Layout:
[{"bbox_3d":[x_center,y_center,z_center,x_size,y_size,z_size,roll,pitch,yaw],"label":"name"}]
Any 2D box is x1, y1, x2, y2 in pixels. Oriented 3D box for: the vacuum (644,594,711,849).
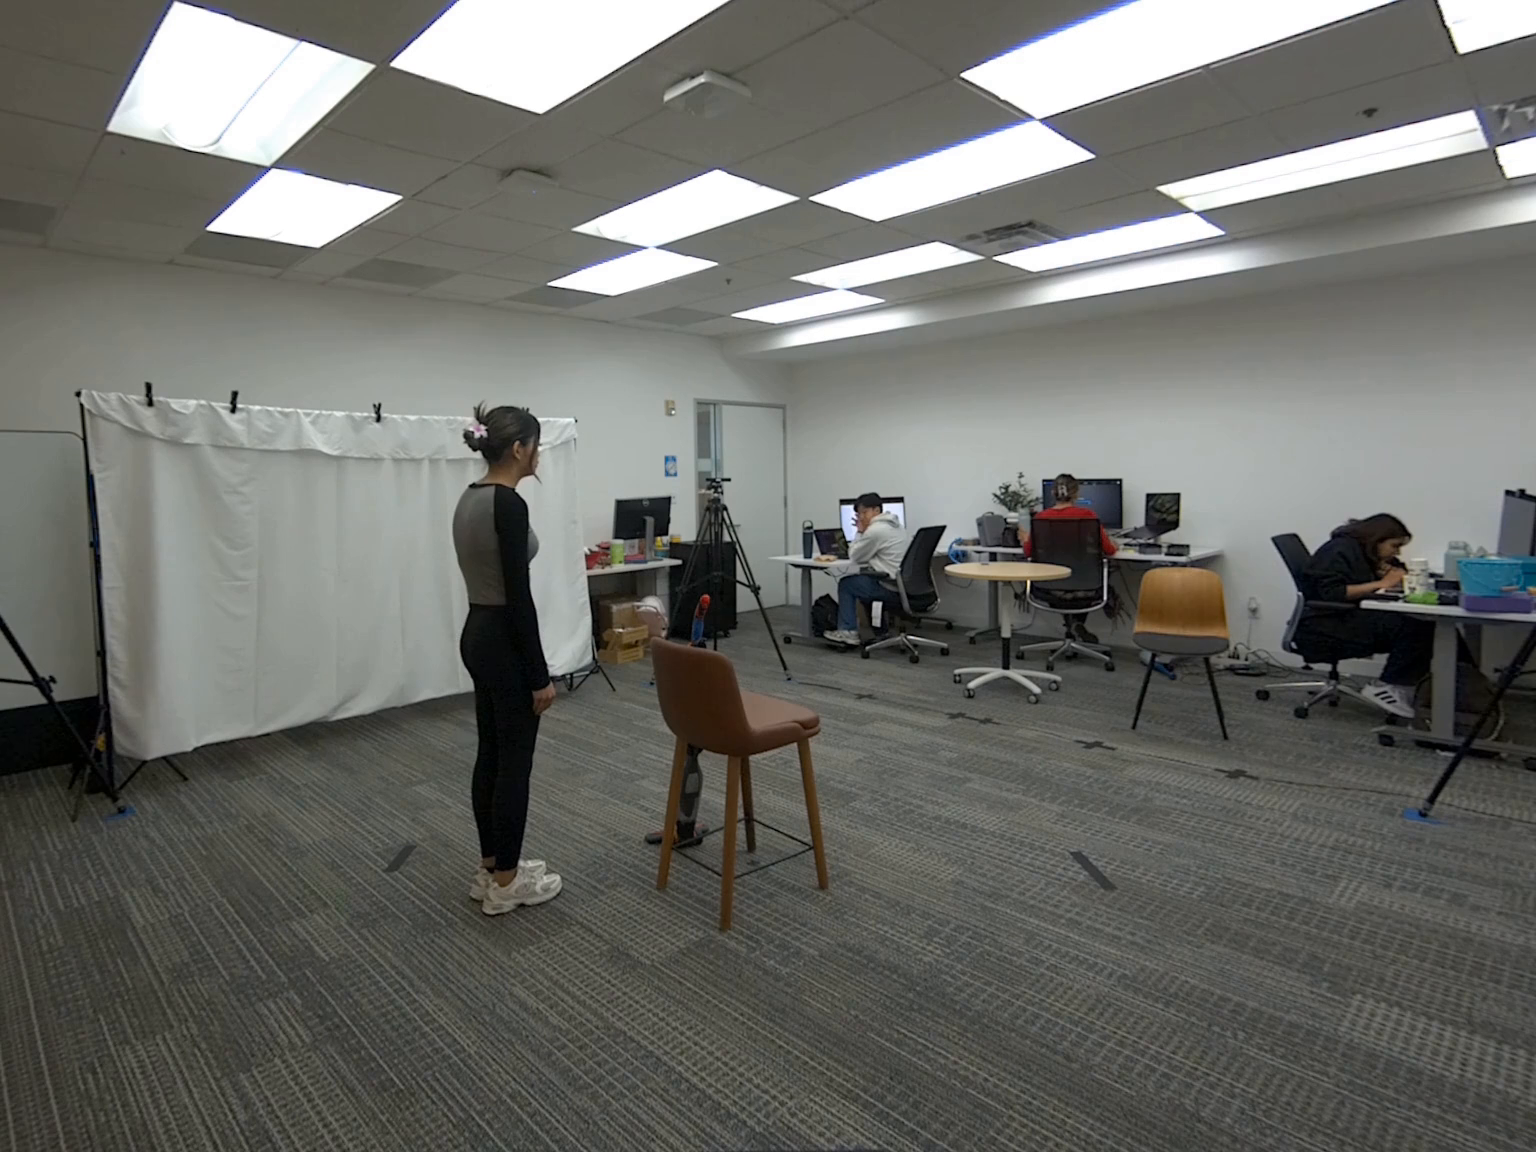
[{"bbox_3d":[-0.276,0.543,3.110,0.247,1.032,0.149,-3,24,-24],"label":"vacuum"}]
